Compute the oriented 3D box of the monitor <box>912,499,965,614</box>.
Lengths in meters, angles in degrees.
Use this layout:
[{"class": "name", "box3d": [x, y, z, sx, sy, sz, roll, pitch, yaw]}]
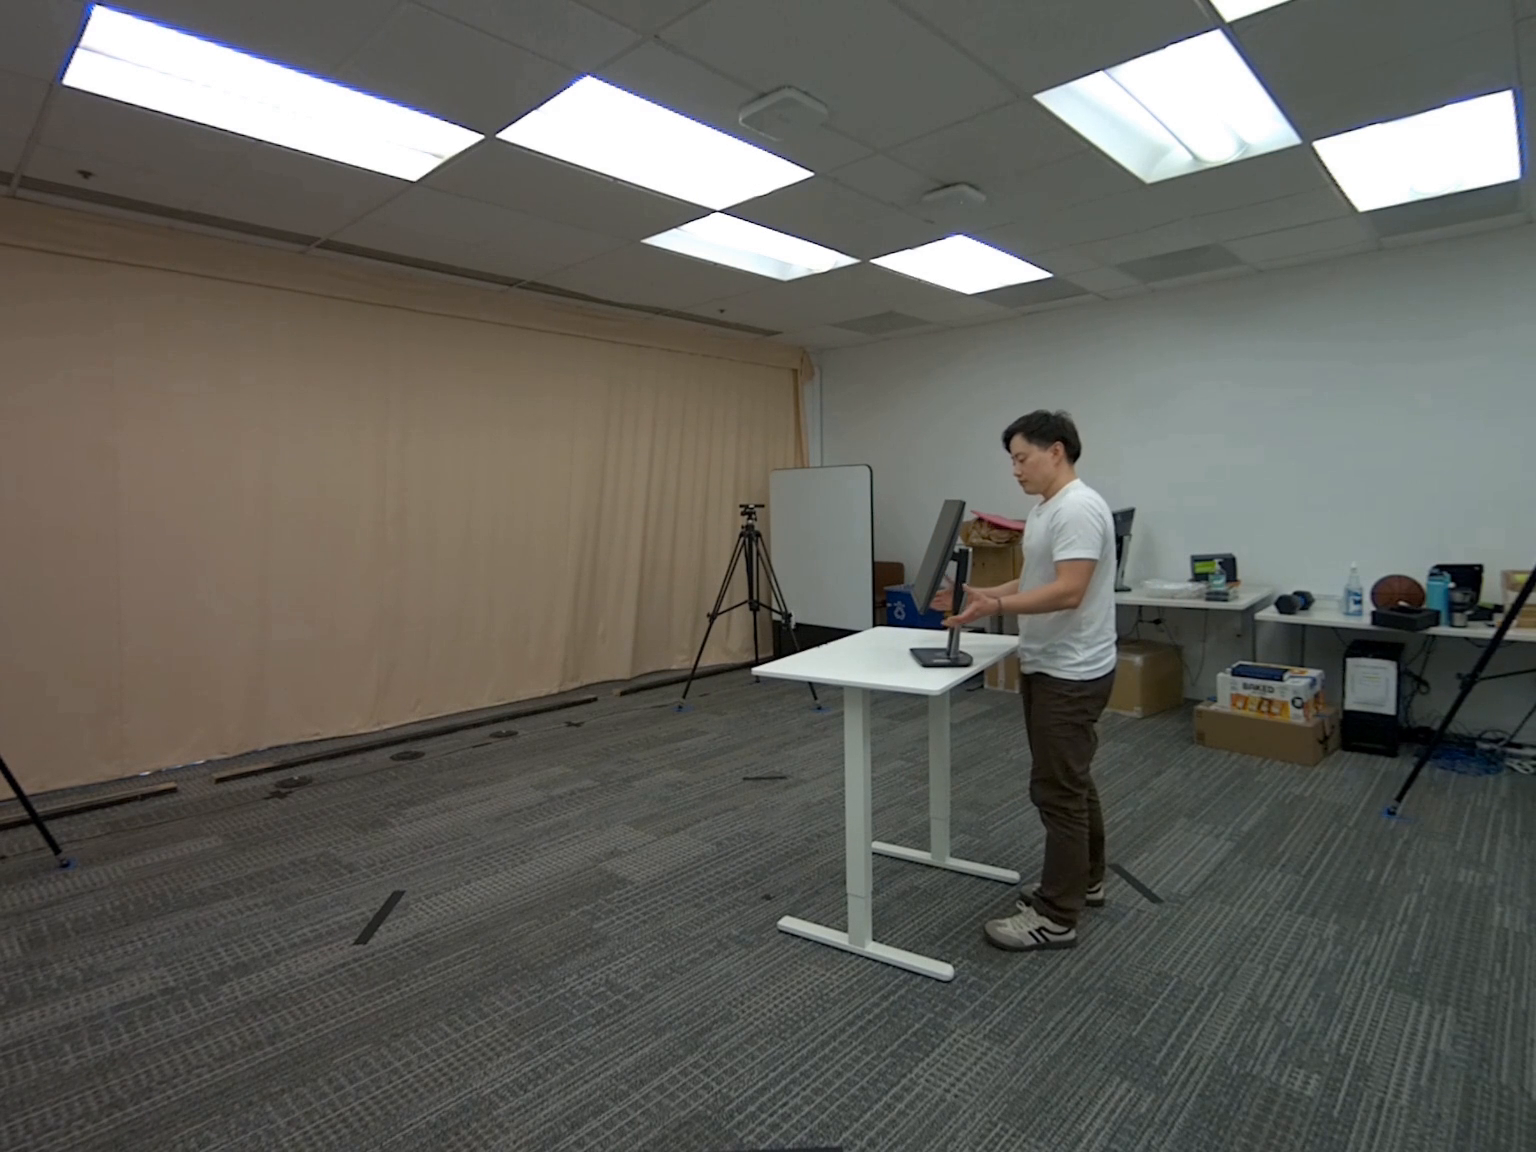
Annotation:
[{"class": "monitor", "box3d": [0.582, 0.018, 2.713, 0.188, 0.521, 0.537, 4, 4, 4]}]
